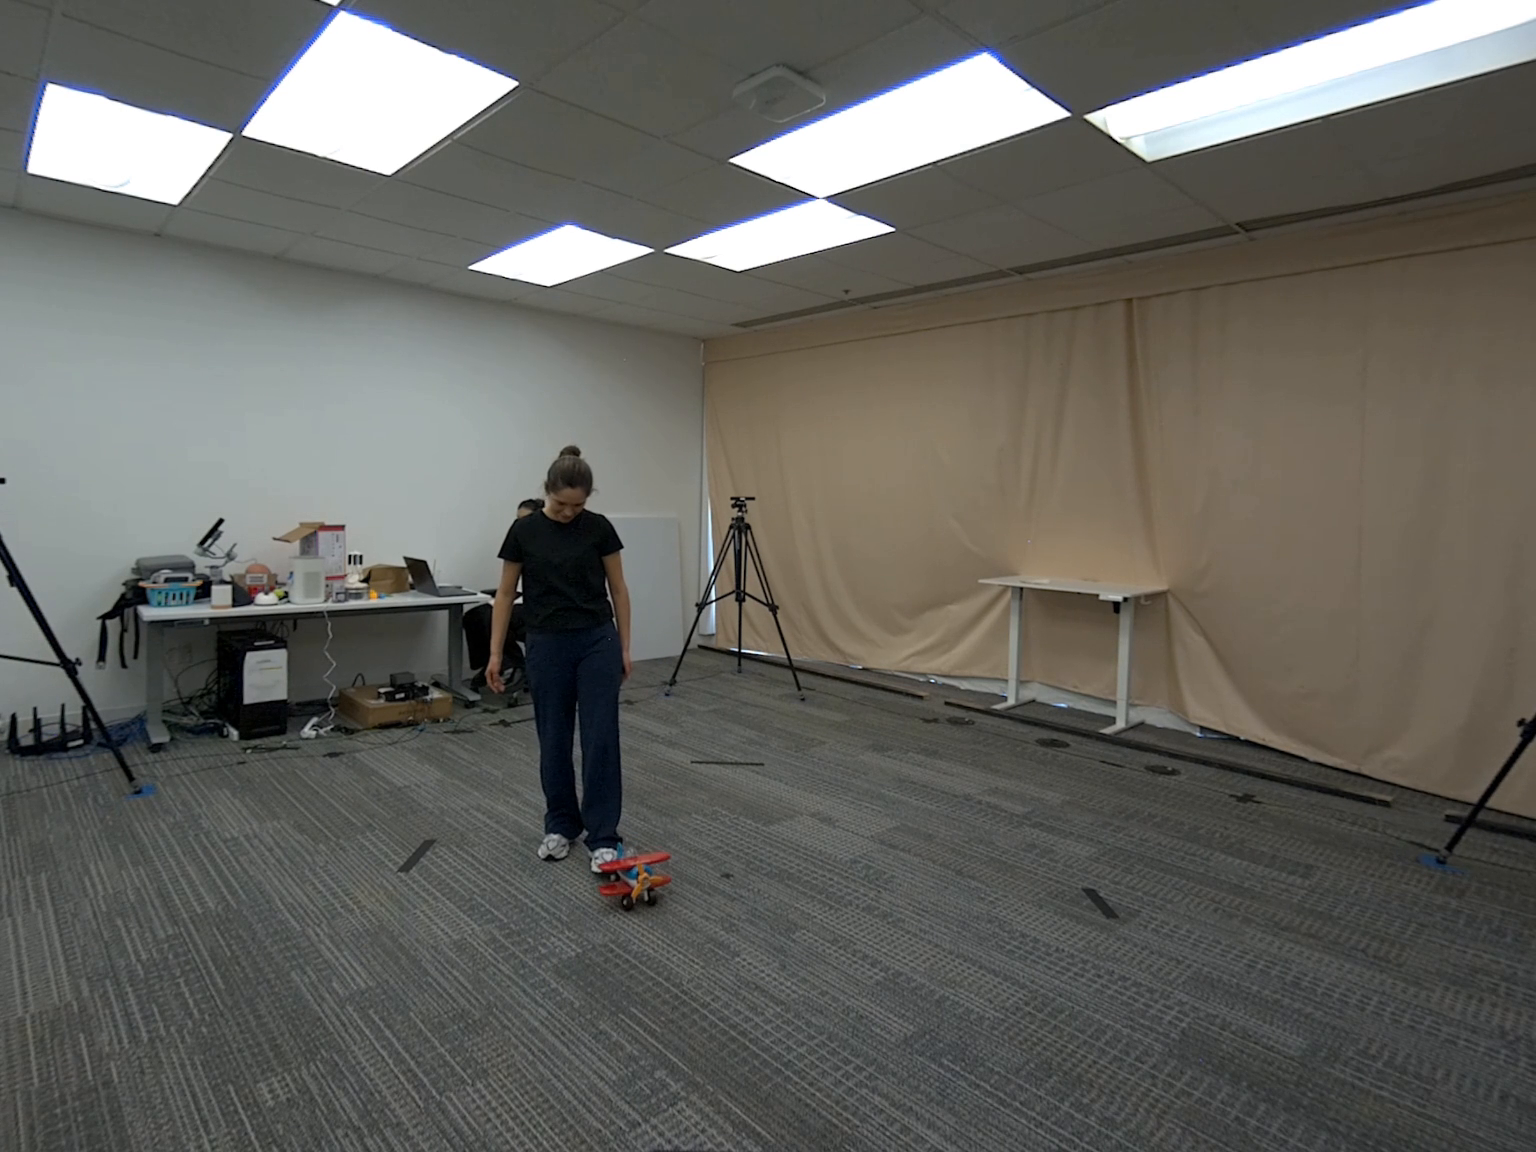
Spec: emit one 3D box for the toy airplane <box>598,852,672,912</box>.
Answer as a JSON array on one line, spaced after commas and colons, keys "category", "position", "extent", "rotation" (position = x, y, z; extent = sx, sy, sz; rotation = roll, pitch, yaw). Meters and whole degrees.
[{"category": "toy airplane", "position": [-0.494, 1.037, 2.895], "extent": [0.266, 0.155, 0.246], "rotation": [12, 13, 32]}]
